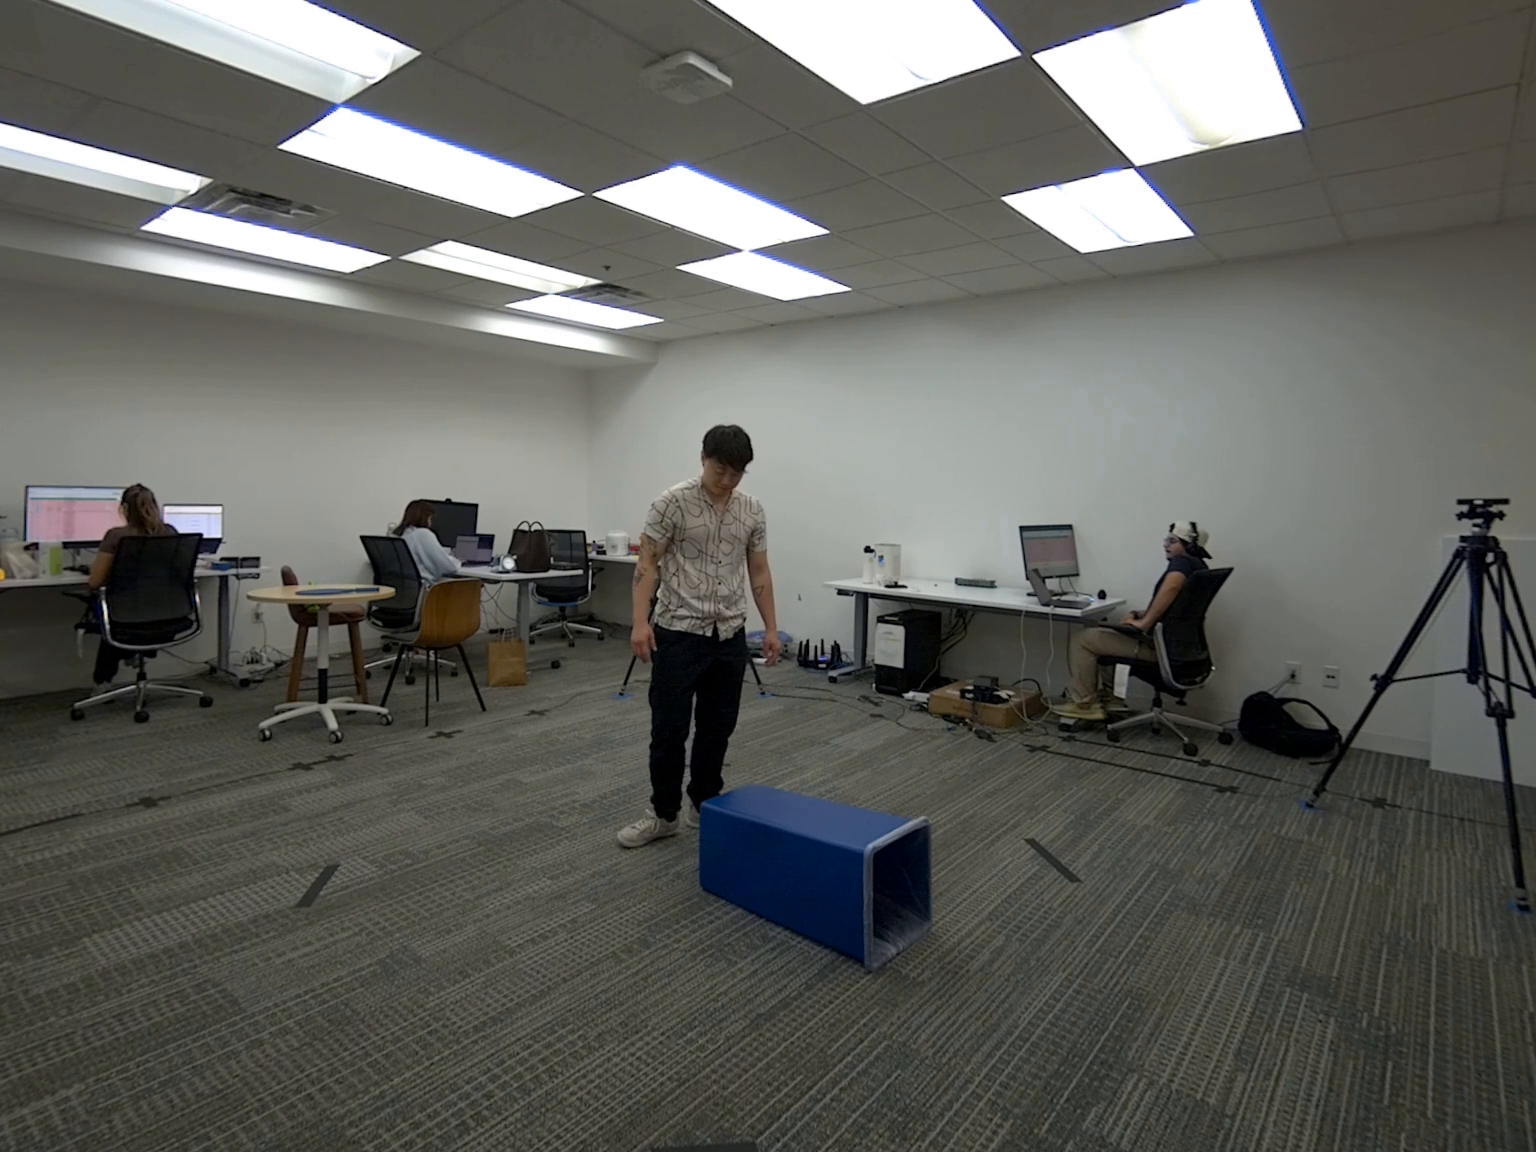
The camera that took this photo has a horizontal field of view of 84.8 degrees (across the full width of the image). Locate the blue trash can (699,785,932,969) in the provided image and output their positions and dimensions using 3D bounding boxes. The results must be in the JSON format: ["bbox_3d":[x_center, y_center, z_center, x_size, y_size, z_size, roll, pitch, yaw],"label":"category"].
[{"bbox_3d":[0.125,0.930,2.822,0.737,0.377,0.363,4,5,42],"label":"blue trash can"}]
